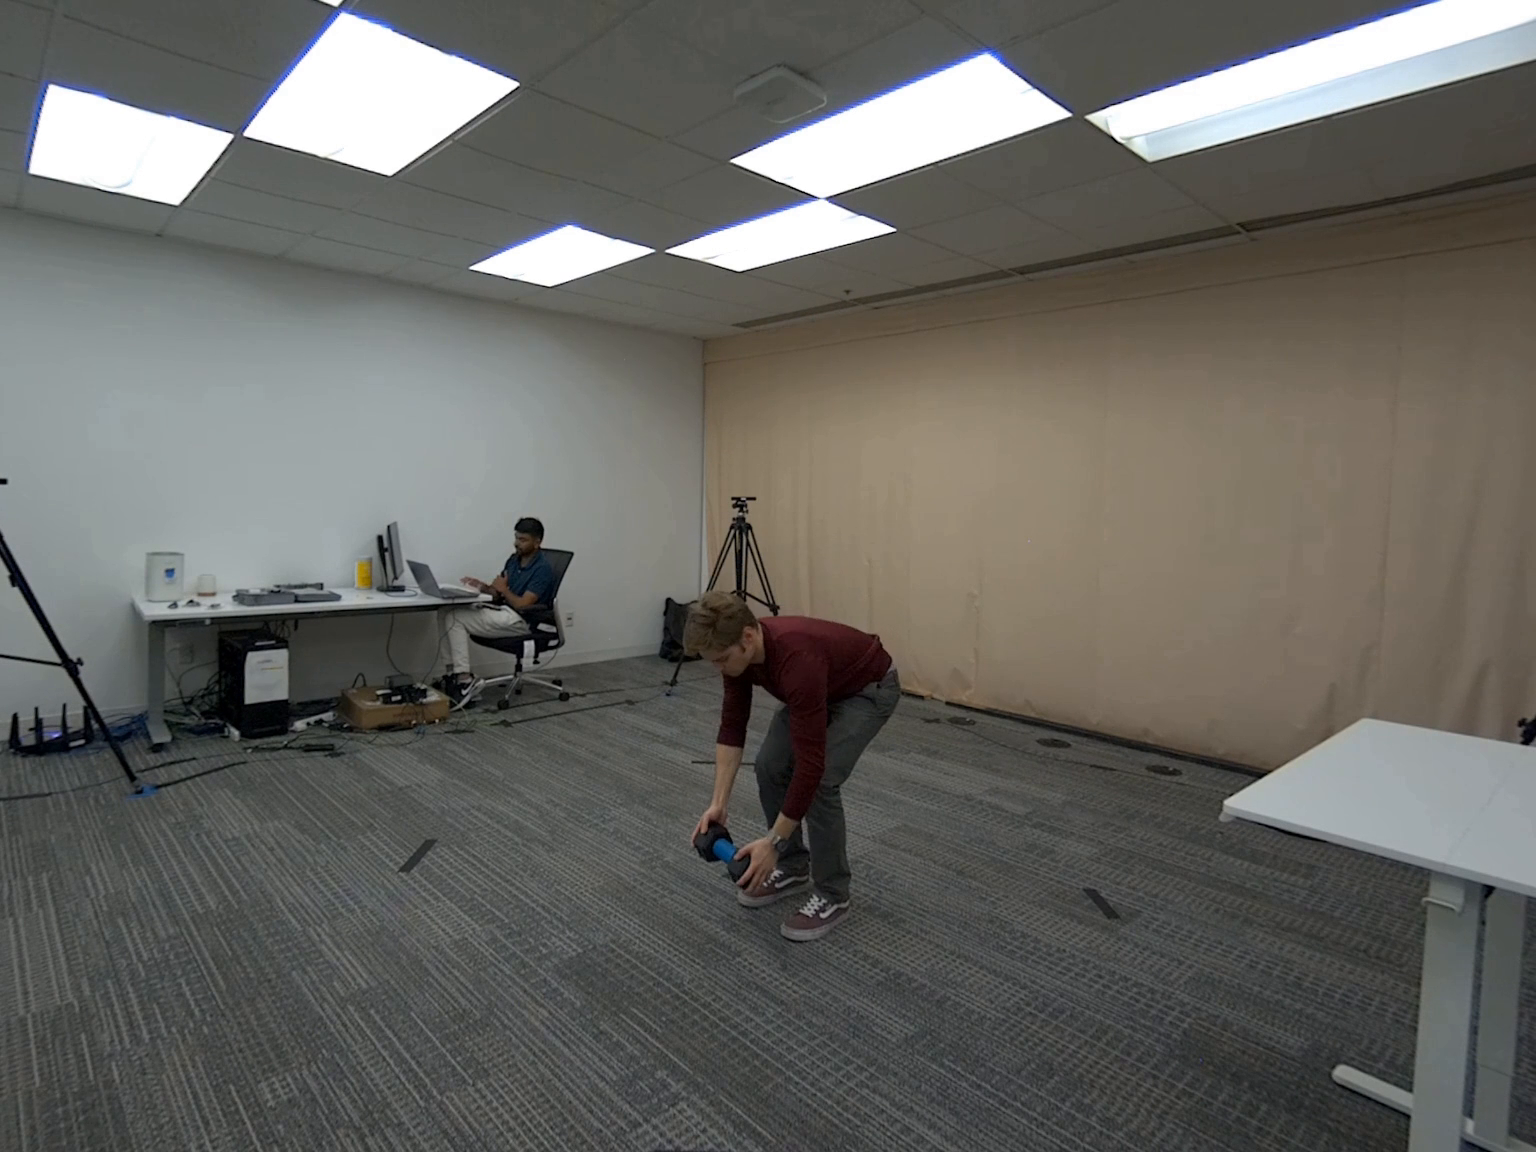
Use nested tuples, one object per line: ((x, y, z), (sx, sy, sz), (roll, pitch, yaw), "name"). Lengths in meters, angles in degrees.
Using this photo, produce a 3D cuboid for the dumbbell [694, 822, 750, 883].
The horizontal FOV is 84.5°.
((-0.121, 0.890, 2.686), (0.106, 0.123, 0.300), (36, -15, -30), "dumbbell")
